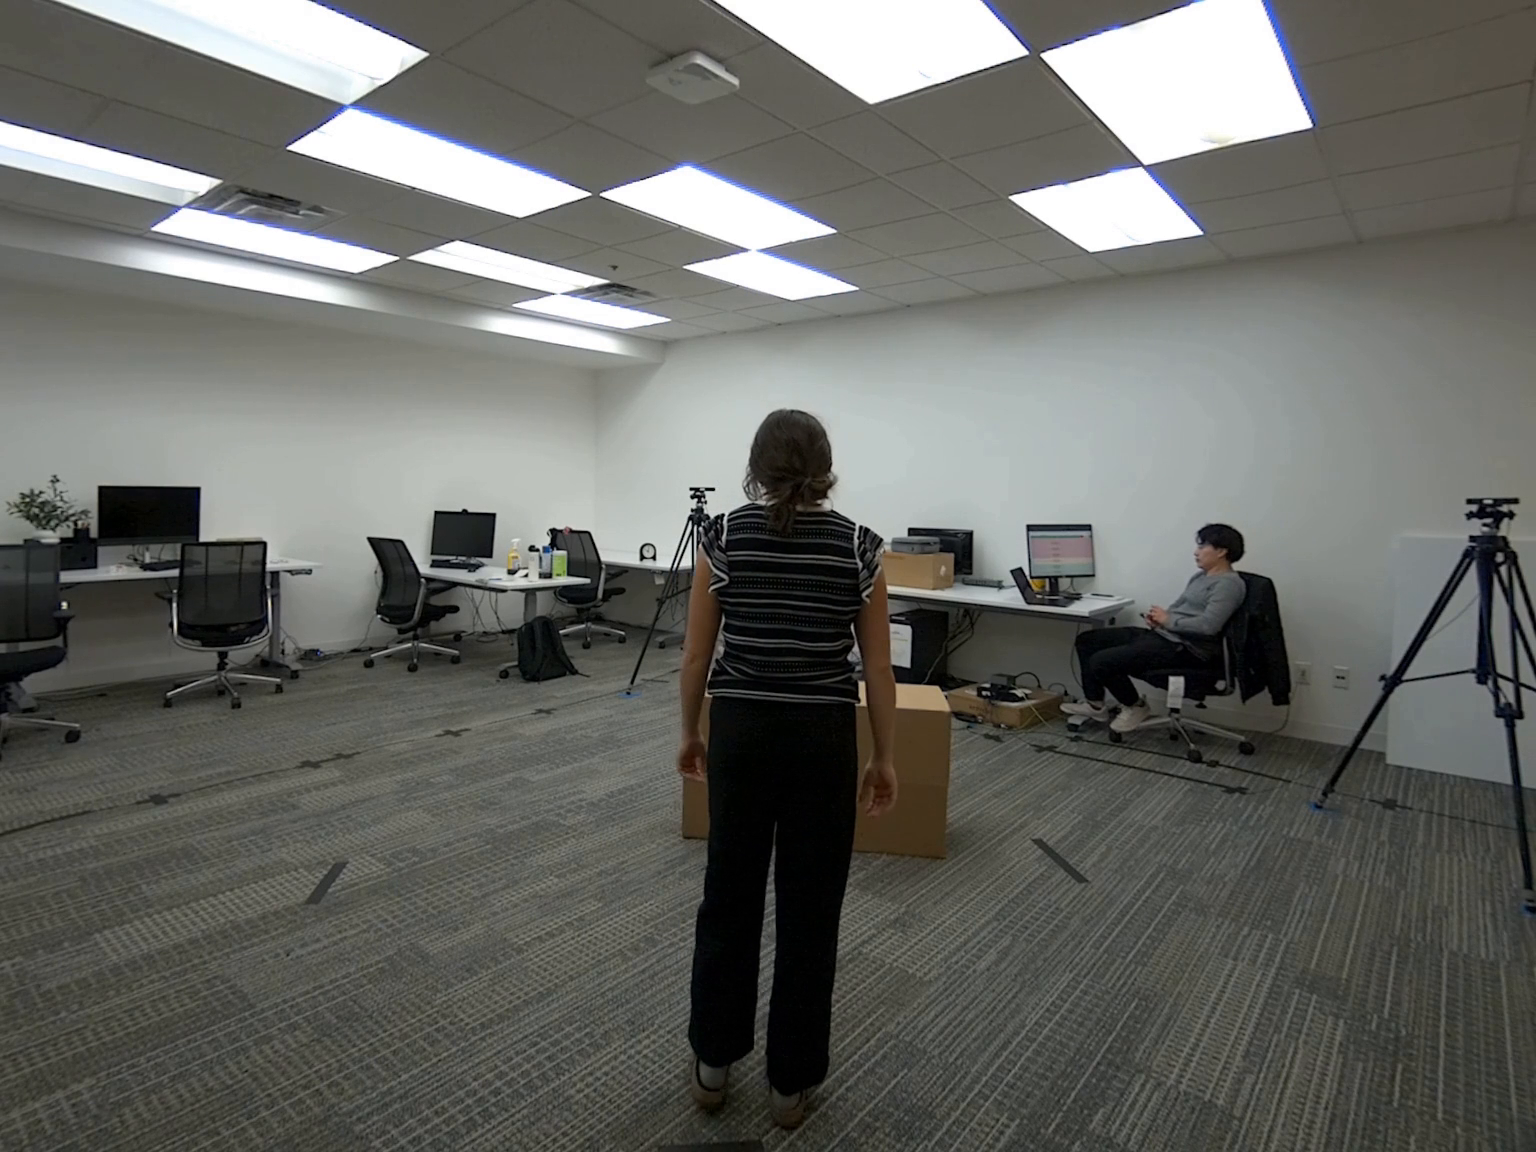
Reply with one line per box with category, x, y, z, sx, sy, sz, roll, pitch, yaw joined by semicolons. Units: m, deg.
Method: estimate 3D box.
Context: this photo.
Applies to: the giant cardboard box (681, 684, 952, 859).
giant cardboard box;0.189;0.746;3.500;1.035;0.576;0.424;2;3;8
